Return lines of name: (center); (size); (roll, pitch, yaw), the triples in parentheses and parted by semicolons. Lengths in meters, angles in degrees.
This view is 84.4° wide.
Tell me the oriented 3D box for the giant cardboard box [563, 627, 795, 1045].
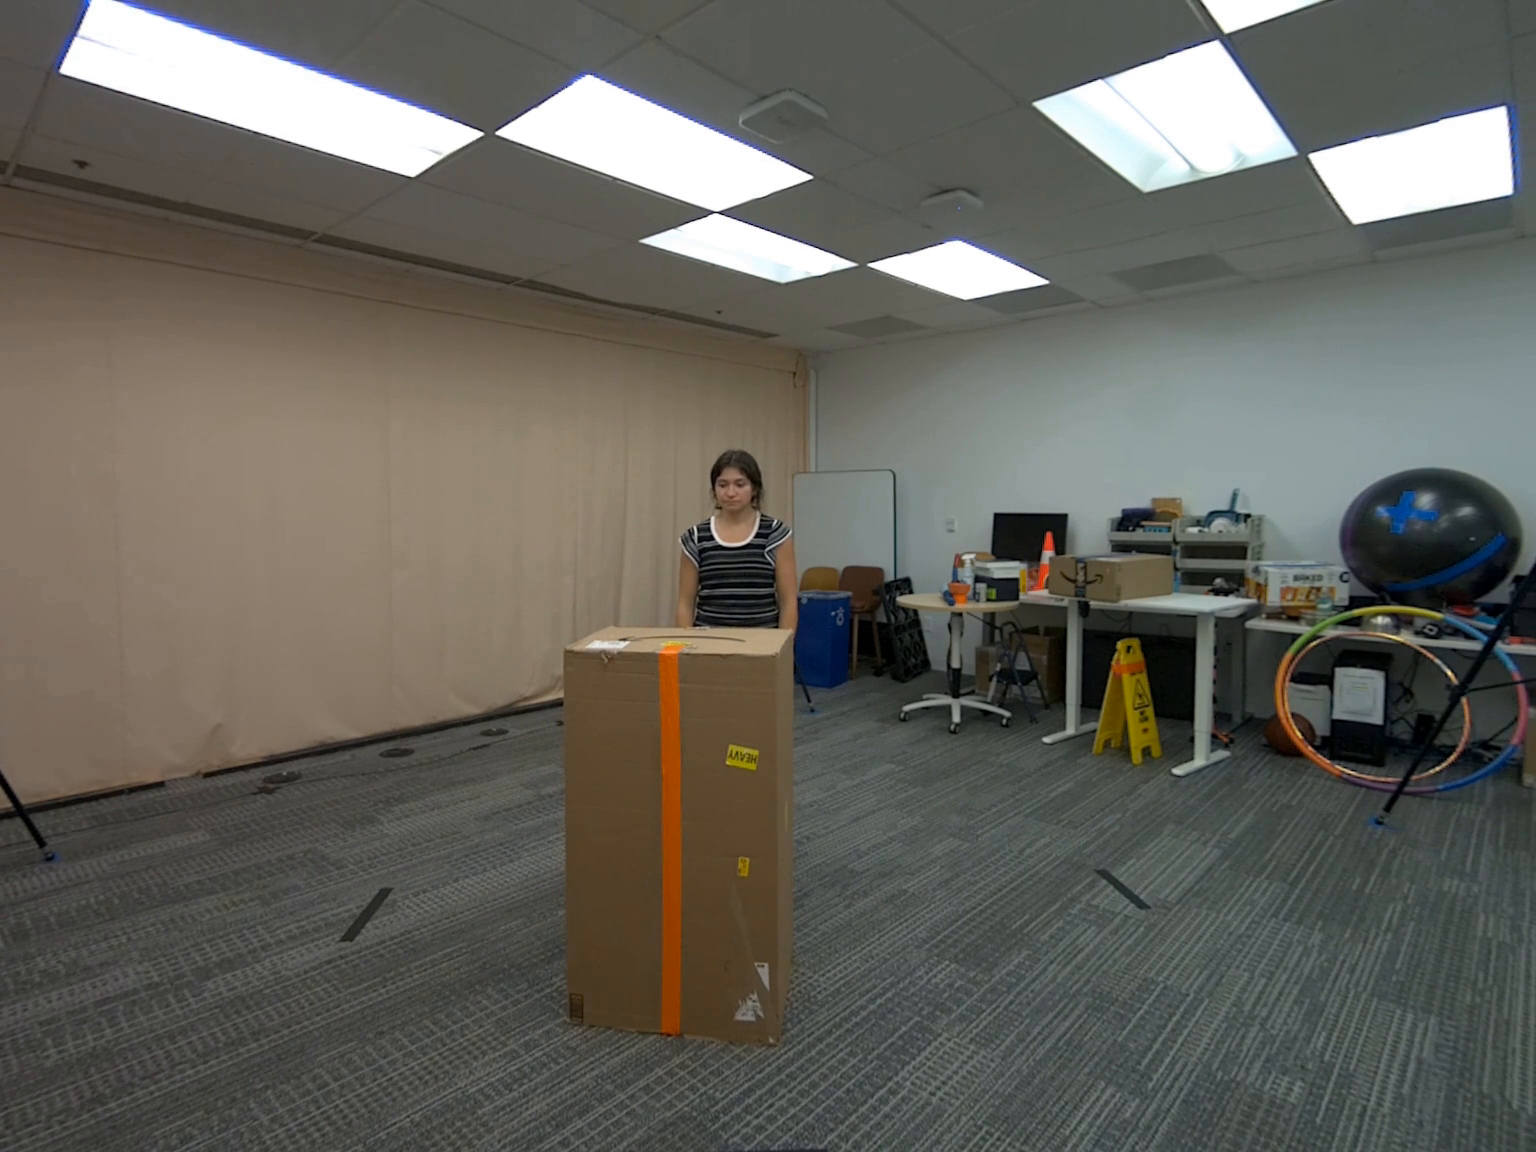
giant cardboard box: (-0.233, 0.682, 2.396); (0.584, 1.024, 0.422); (1, 3, 9)
